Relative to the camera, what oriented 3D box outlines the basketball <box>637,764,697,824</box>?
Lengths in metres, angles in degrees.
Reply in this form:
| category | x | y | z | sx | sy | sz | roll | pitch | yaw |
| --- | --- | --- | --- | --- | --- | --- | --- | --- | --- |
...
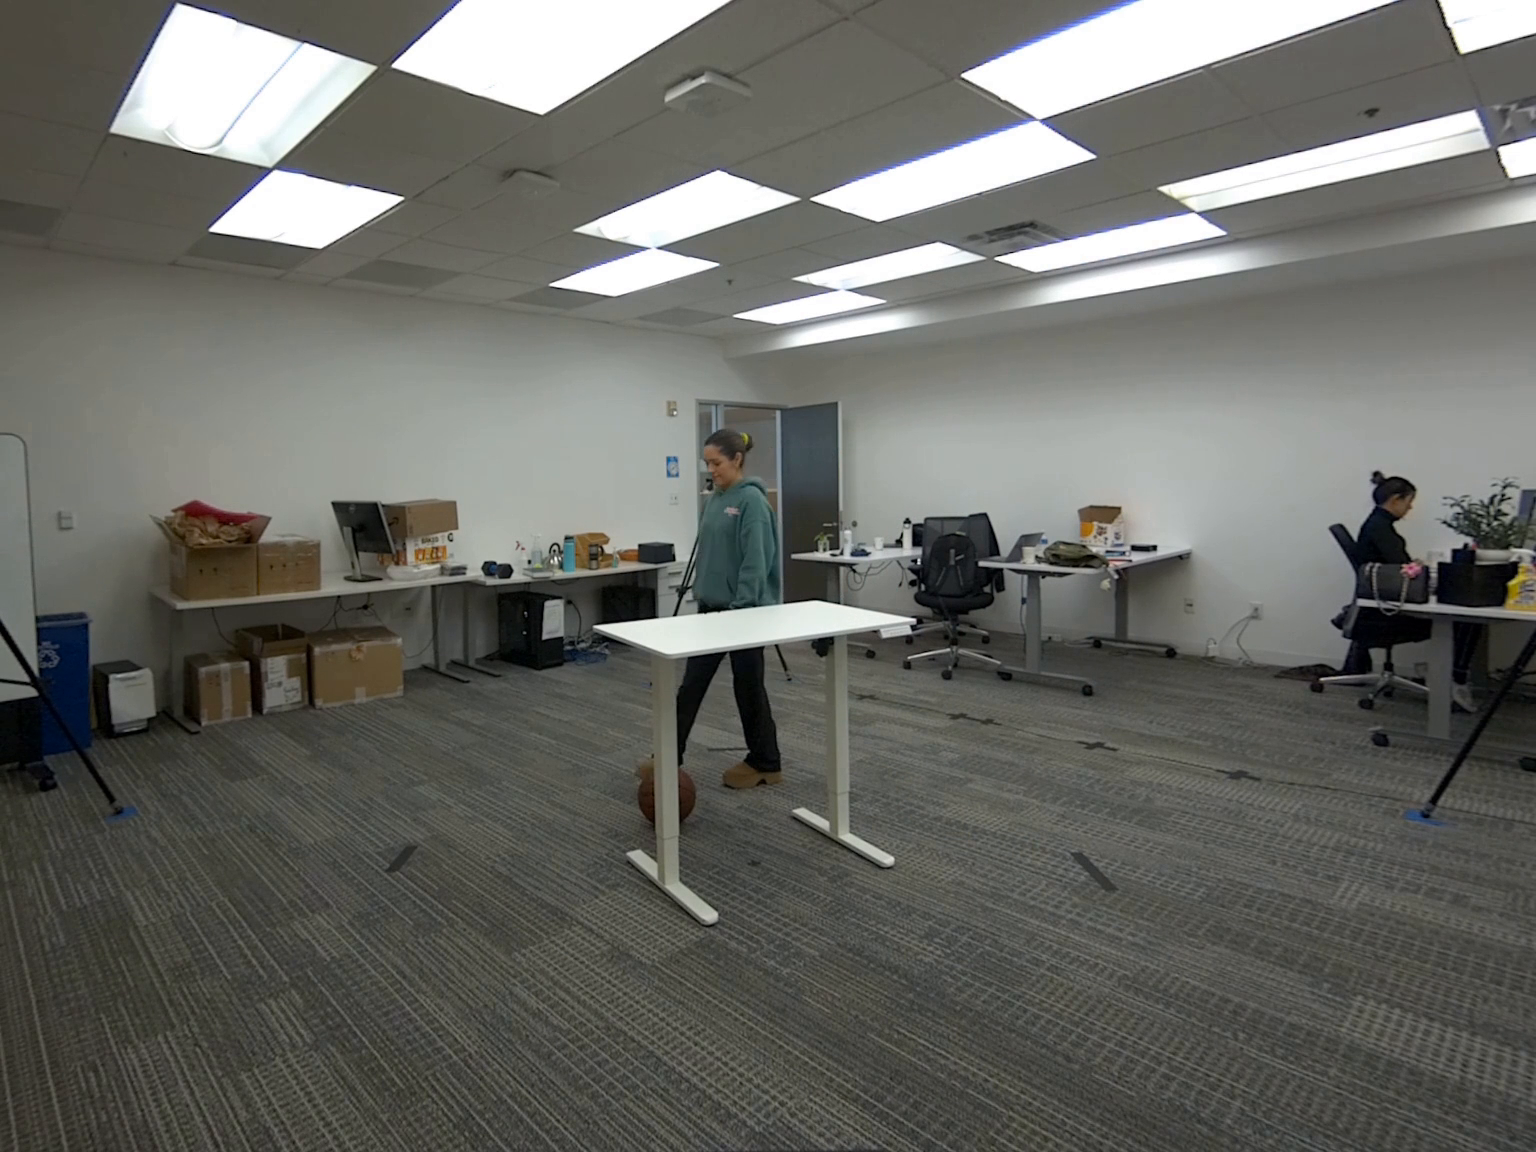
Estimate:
| category | x | y | z | sx | sy | sz | roll | pitch | yaw |
| --- | --- | --- | --- | --- | --- | --- | --- | --- | --- |
| basketball | -0.414 | 0.896 | 3.474 | 0.236 | 0.235 | 0.237 | -1 | 5 | -2 |
